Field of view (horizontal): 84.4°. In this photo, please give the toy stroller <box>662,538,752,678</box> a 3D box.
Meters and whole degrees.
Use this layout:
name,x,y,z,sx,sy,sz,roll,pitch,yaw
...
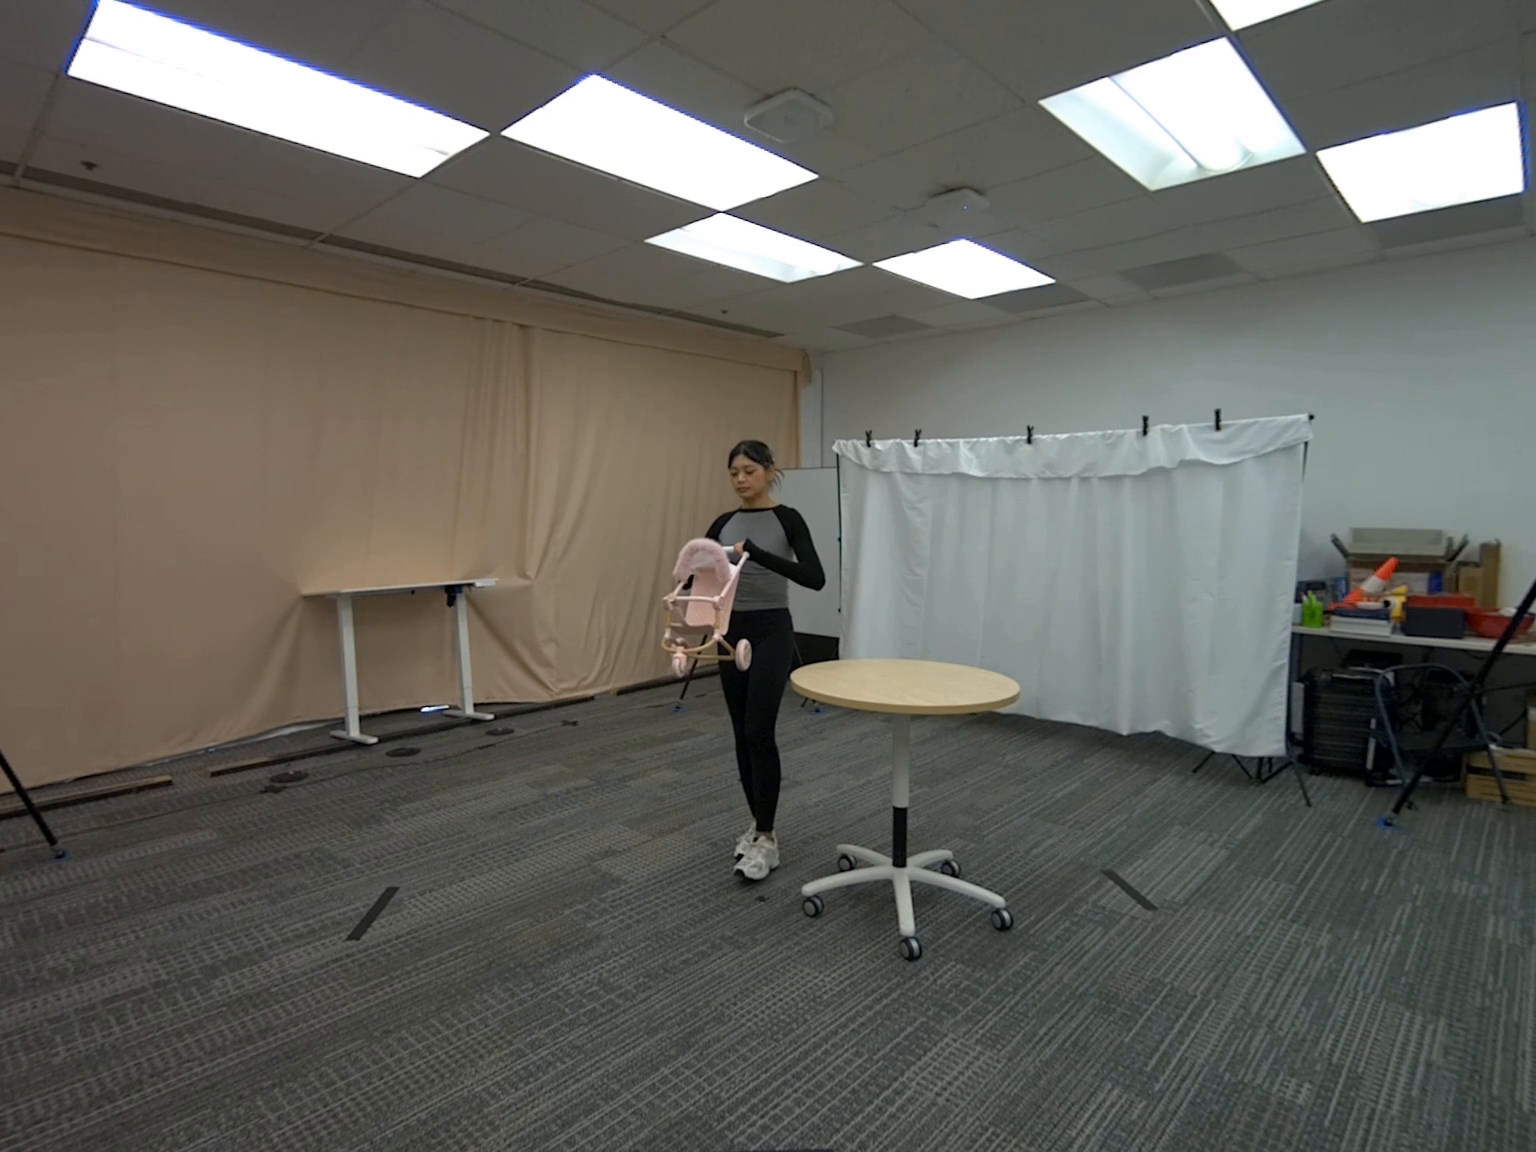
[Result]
name,x,y,z,sx,sy,sz,roll,pitch,yaw
toy stroller,-0.234,0.109,2.955,0.289,0.539,0.330,-2,-15,27
